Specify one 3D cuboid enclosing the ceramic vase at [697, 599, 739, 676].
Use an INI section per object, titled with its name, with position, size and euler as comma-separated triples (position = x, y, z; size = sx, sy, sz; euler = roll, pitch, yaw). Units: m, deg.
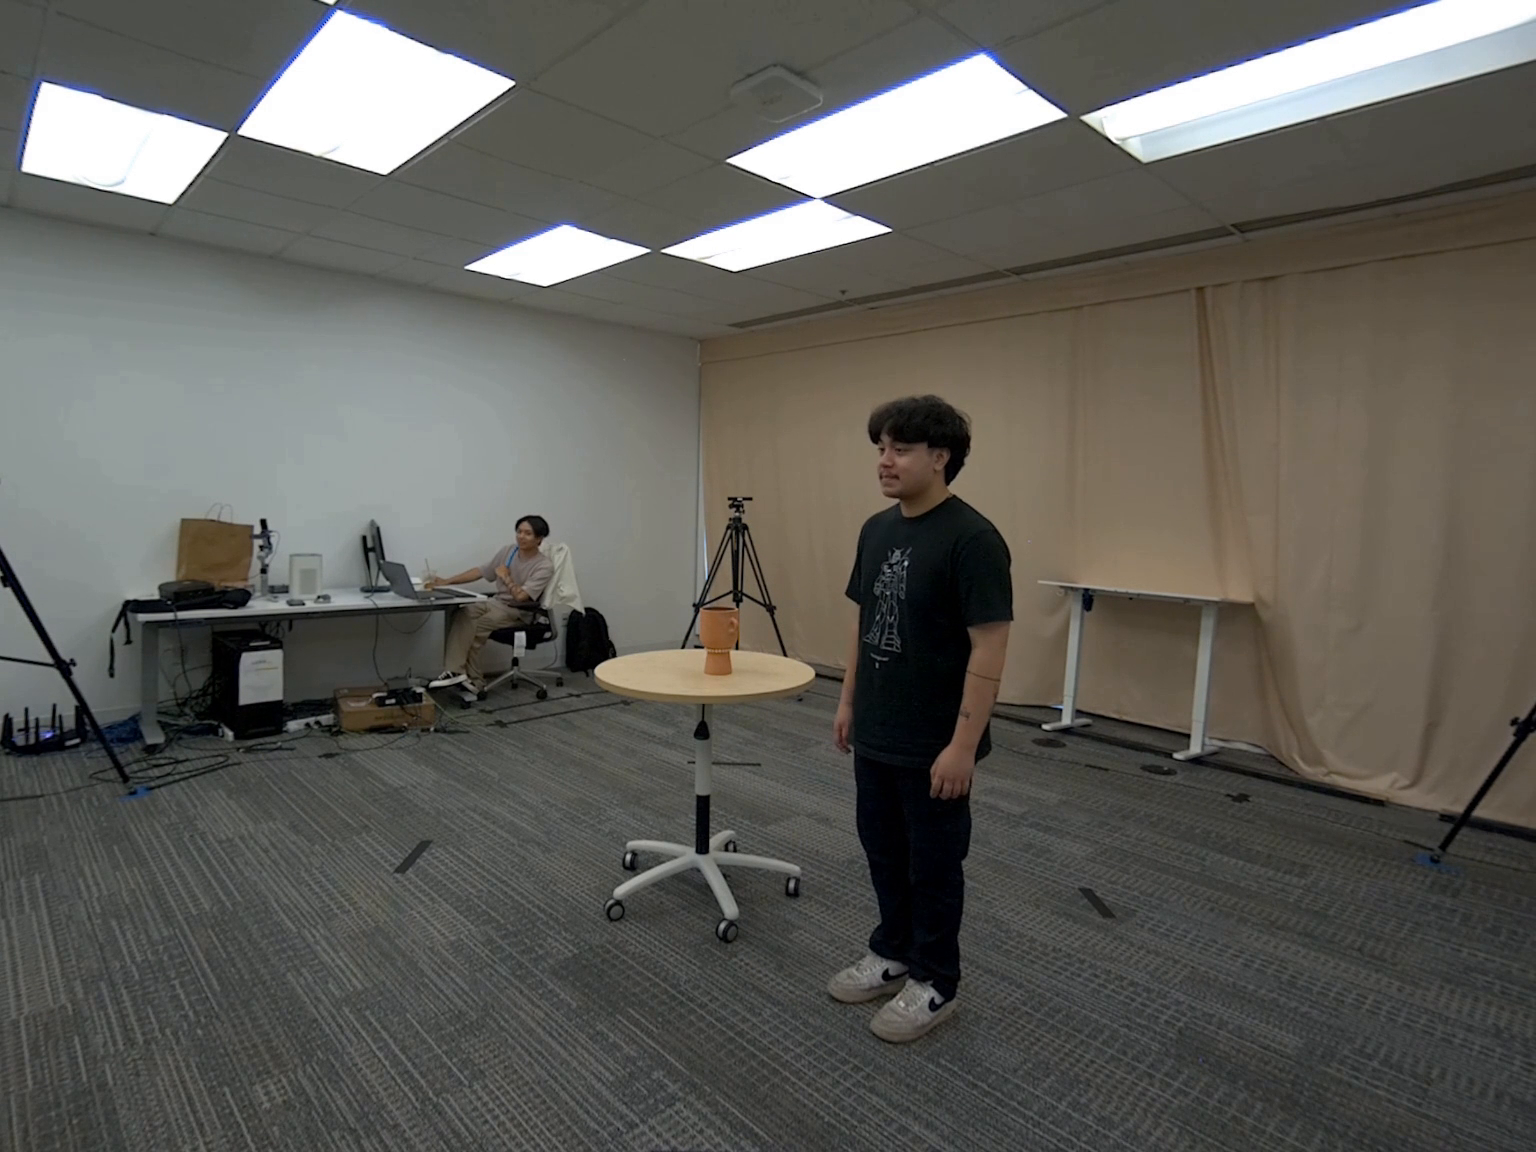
[ceramic vase]
position = -0.171, 0.225, 2.881
size = 0.134, 0.219, 0.160
euler = 2, 5, -3
